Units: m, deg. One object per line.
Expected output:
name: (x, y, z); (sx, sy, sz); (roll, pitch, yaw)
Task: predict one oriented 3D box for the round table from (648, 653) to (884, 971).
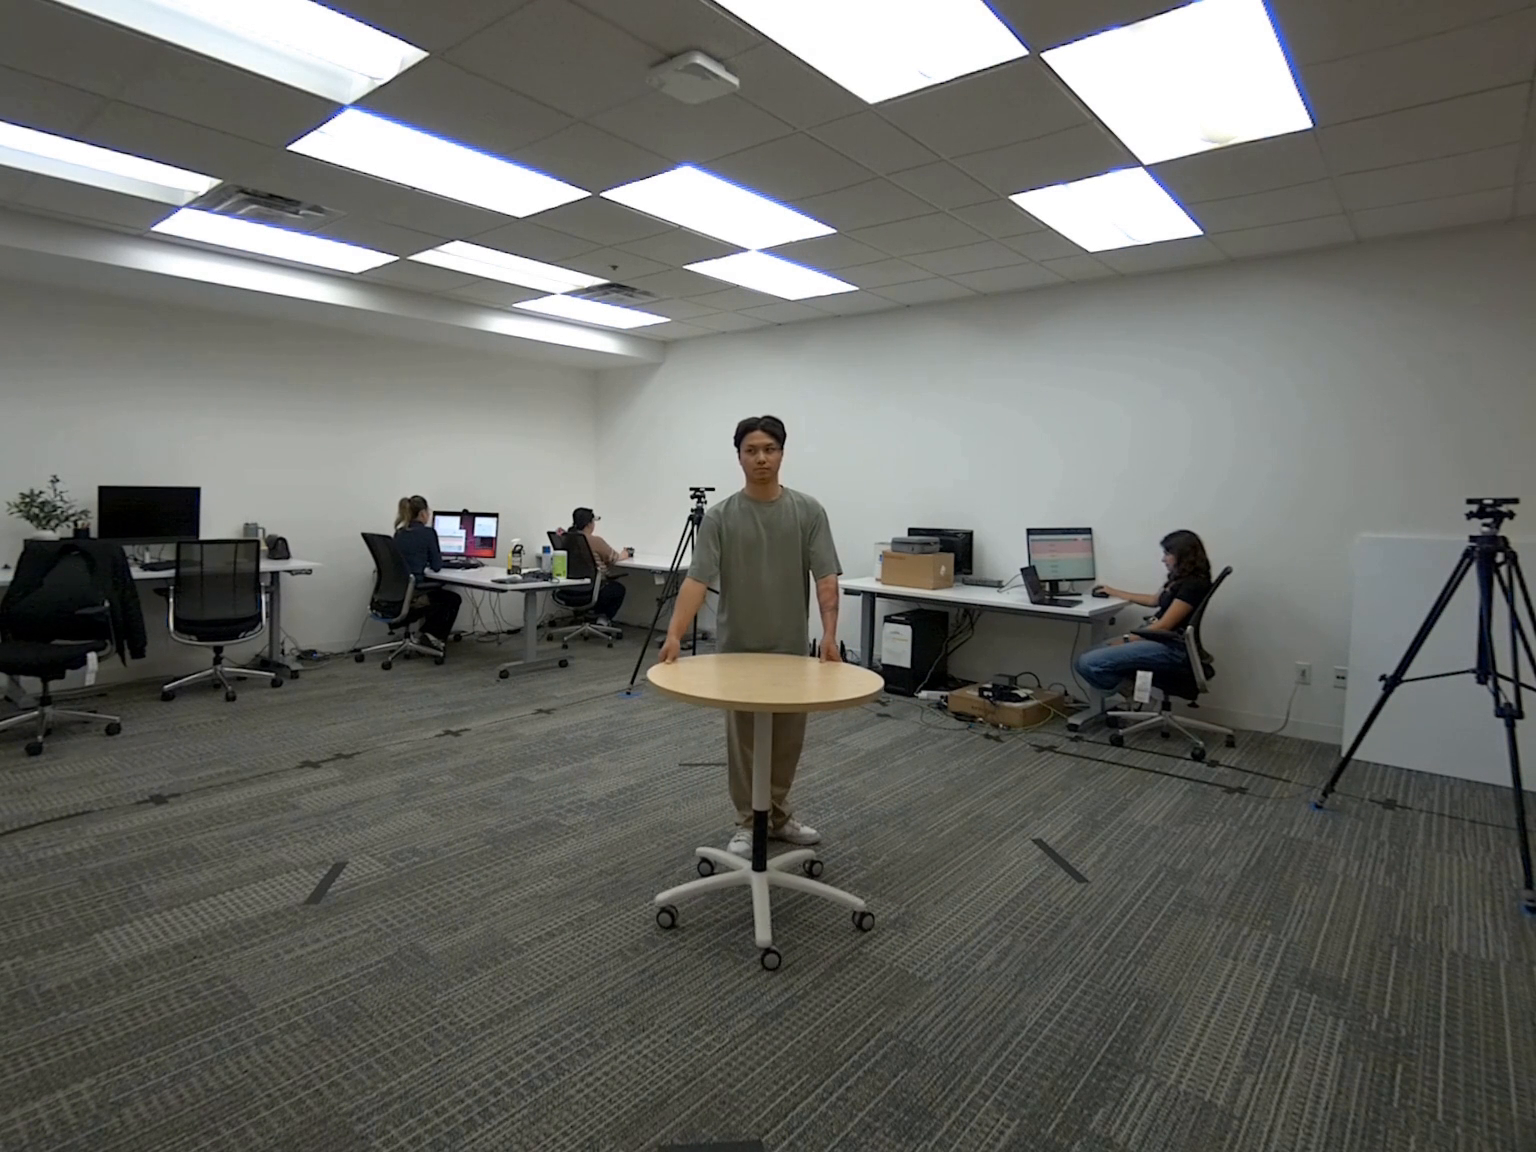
round table: (-0.029, 0.707, 2.773); (0.784, 0.785, 0.788); (1, 3, -2)
